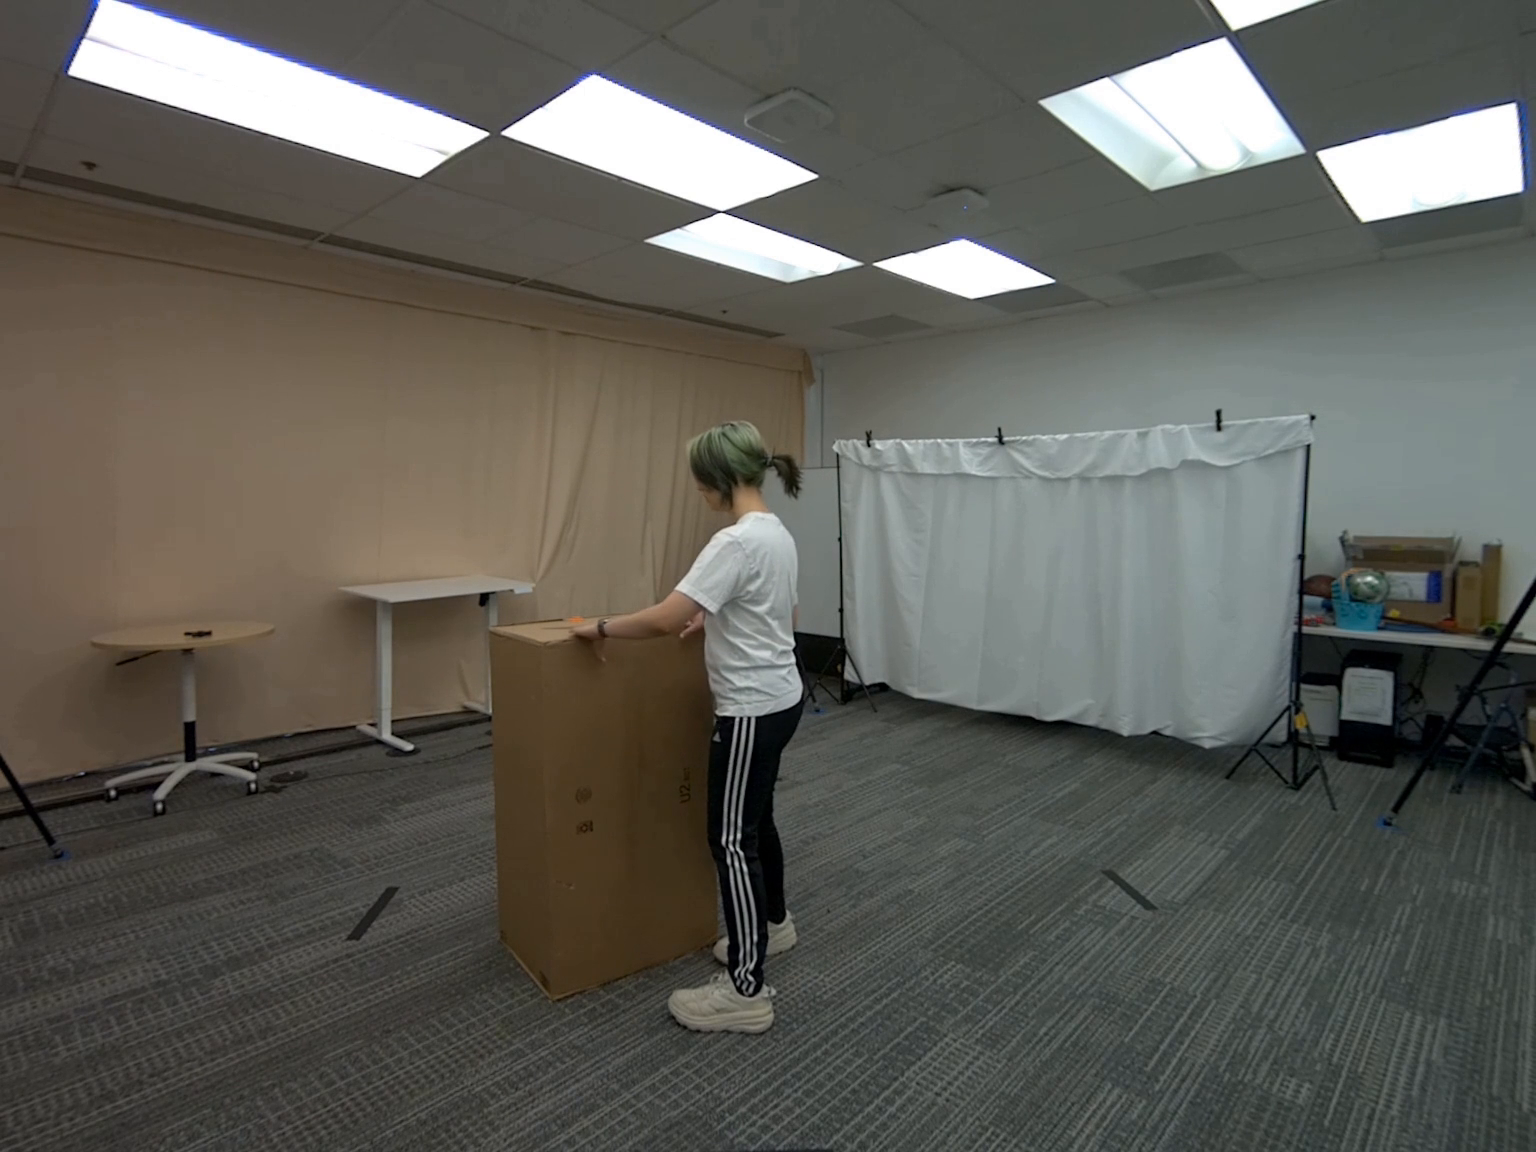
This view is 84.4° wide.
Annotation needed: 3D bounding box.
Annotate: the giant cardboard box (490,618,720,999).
[{"bbox_3d":[-0.520,0.667,2.672,0.567,1.024,0.461,-3,5,-37],"label":"giant cardboard box"}]
